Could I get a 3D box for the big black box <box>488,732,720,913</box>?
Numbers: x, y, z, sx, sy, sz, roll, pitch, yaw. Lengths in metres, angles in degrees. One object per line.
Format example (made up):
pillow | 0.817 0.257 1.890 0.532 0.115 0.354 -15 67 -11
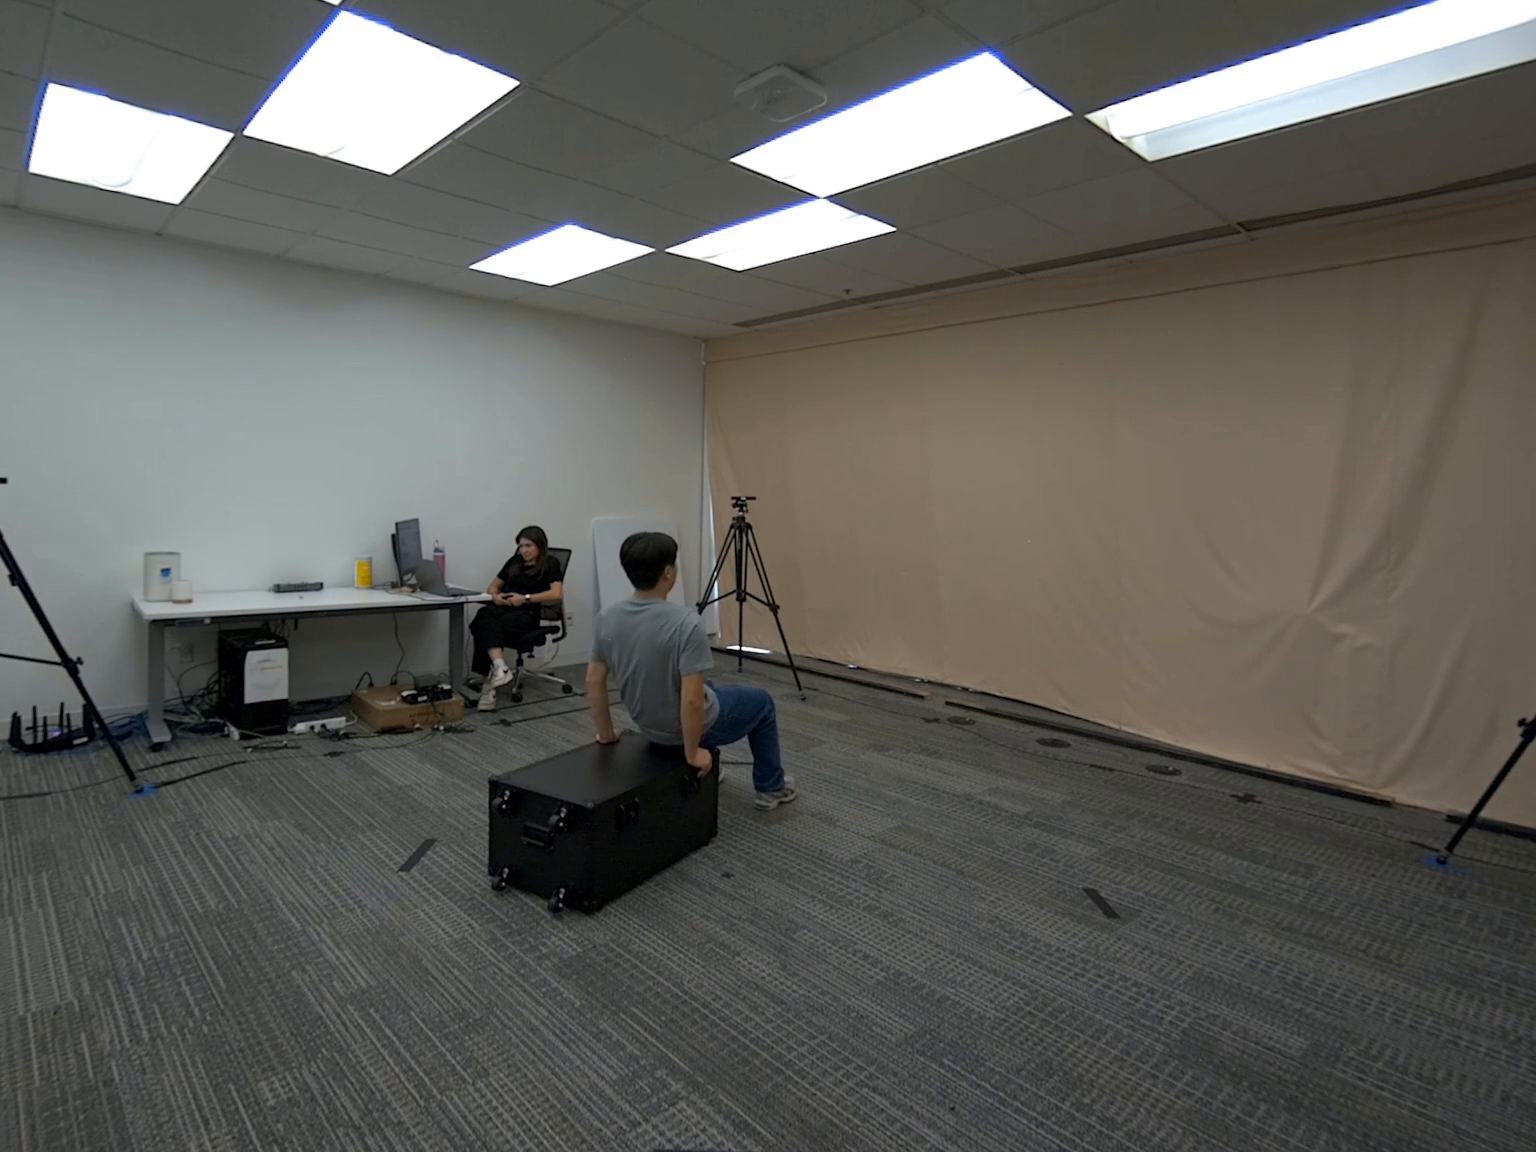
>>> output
big black box | -0.626 0.904 3.177 0.533 0.395 0.845 5 5 30
